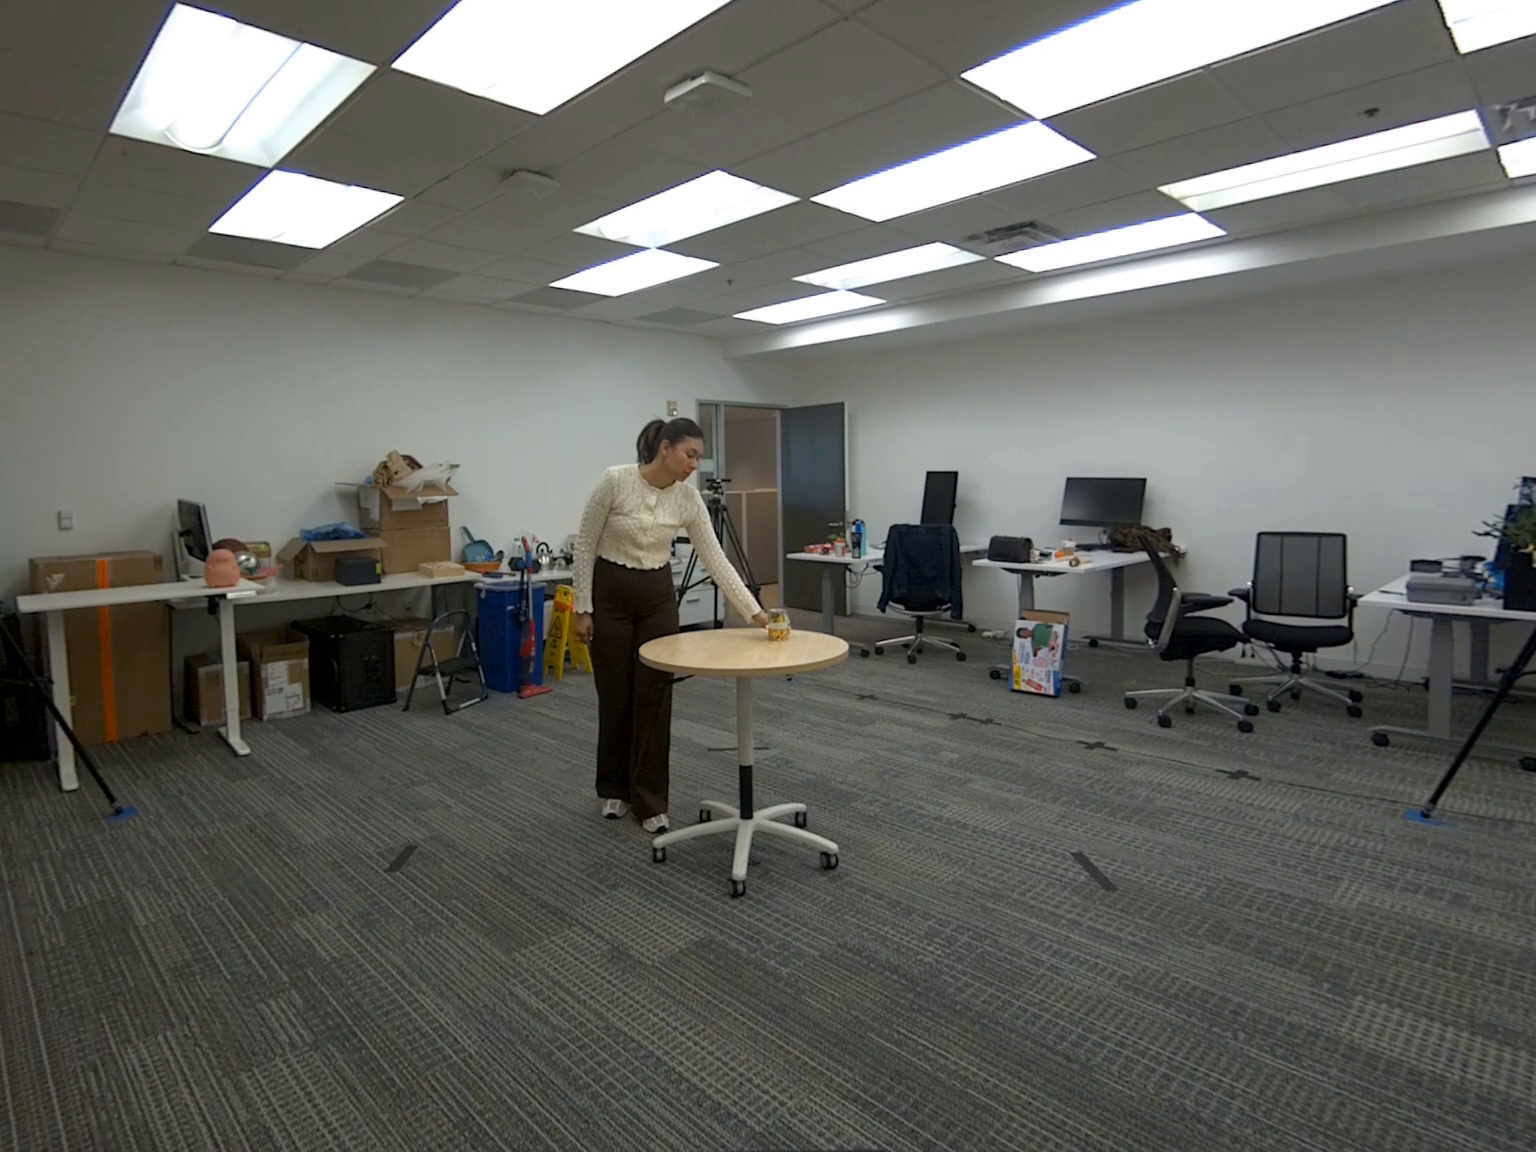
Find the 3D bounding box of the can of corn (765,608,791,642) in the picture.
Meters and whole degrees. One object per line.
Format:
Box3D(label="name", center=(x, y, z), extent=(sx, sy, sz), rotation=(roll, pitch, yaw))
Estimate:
Box3D(label="can of corn", center=(0.037, 0.181, 3.250), extent=(0.074, 0.111, 0.074), rotation=(-2, 3, -2))
